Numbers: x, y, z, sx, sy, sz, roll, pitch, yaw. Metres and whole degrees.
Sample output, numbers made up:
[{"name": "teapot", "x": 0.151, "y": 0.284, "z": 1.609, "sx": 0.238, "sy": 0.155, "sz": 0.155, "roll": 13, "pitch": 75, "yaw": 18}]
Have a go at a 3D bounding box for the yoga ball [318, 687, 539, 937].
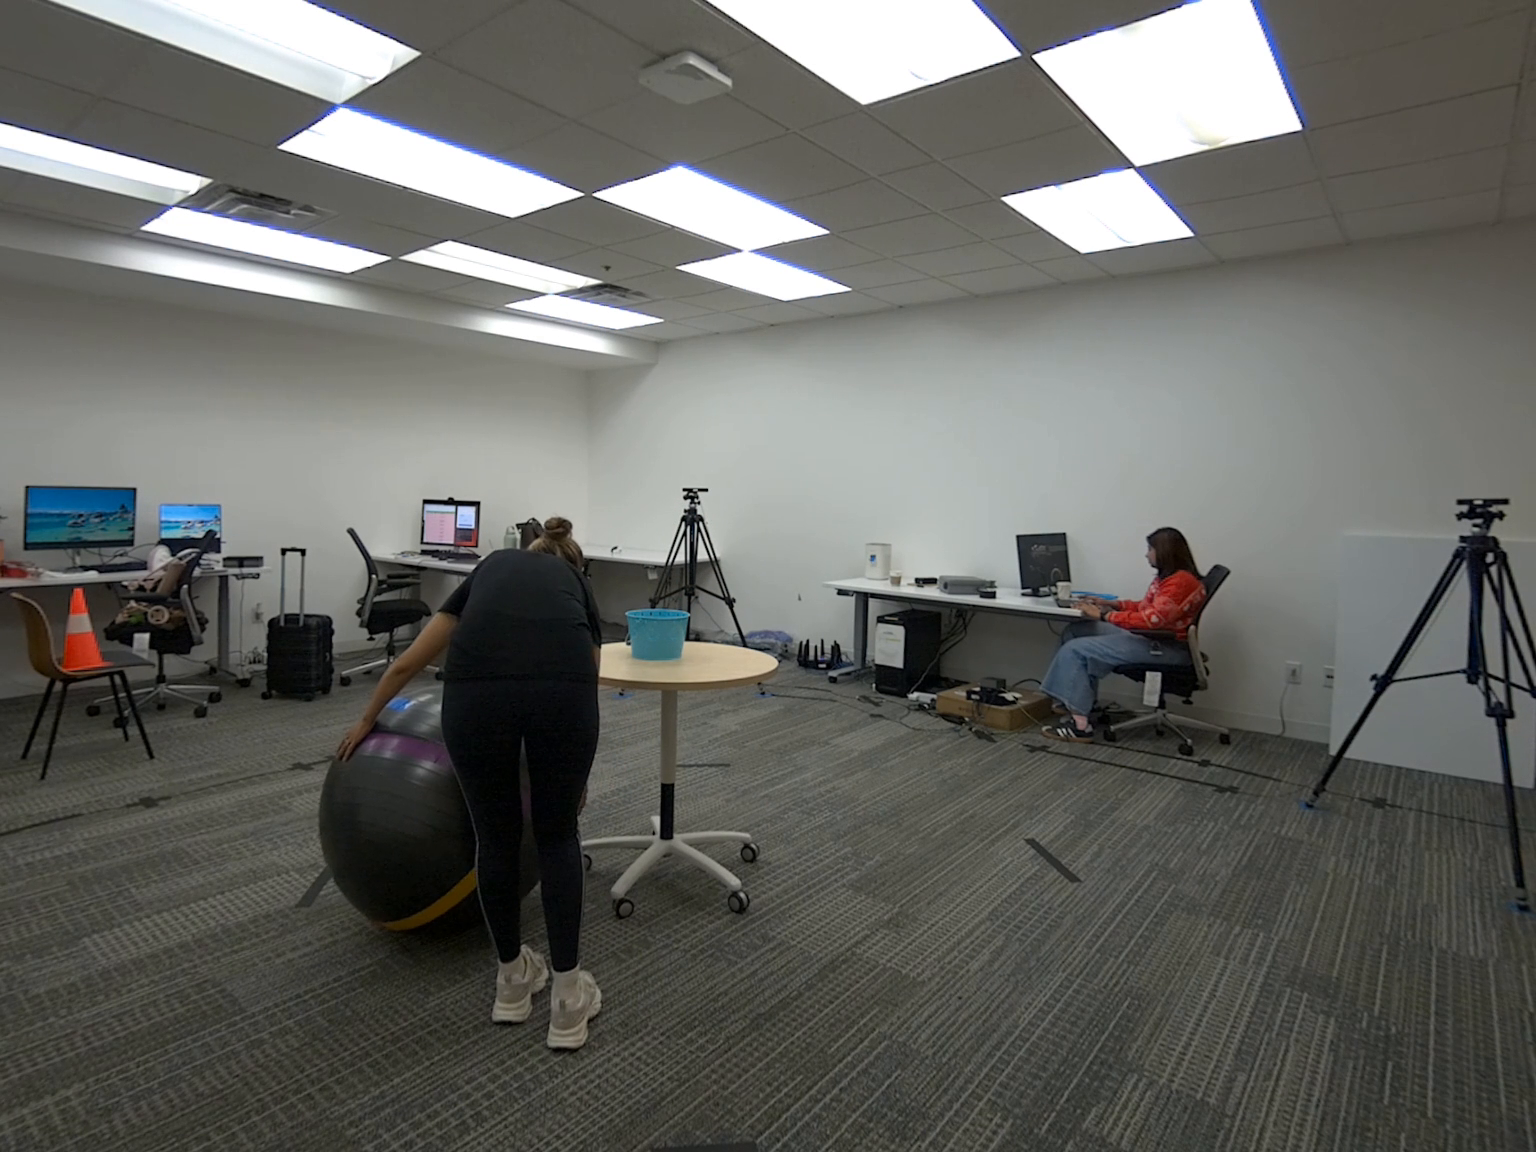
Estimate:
[{"name": "yoga ball", "x": -1.039, "y": 0.726, "z": 2.704, "sx": 0.757, "sy": 0.756, "sz": 0.761, "roll": 1, "pitch": 4, "yaw": -2}]
